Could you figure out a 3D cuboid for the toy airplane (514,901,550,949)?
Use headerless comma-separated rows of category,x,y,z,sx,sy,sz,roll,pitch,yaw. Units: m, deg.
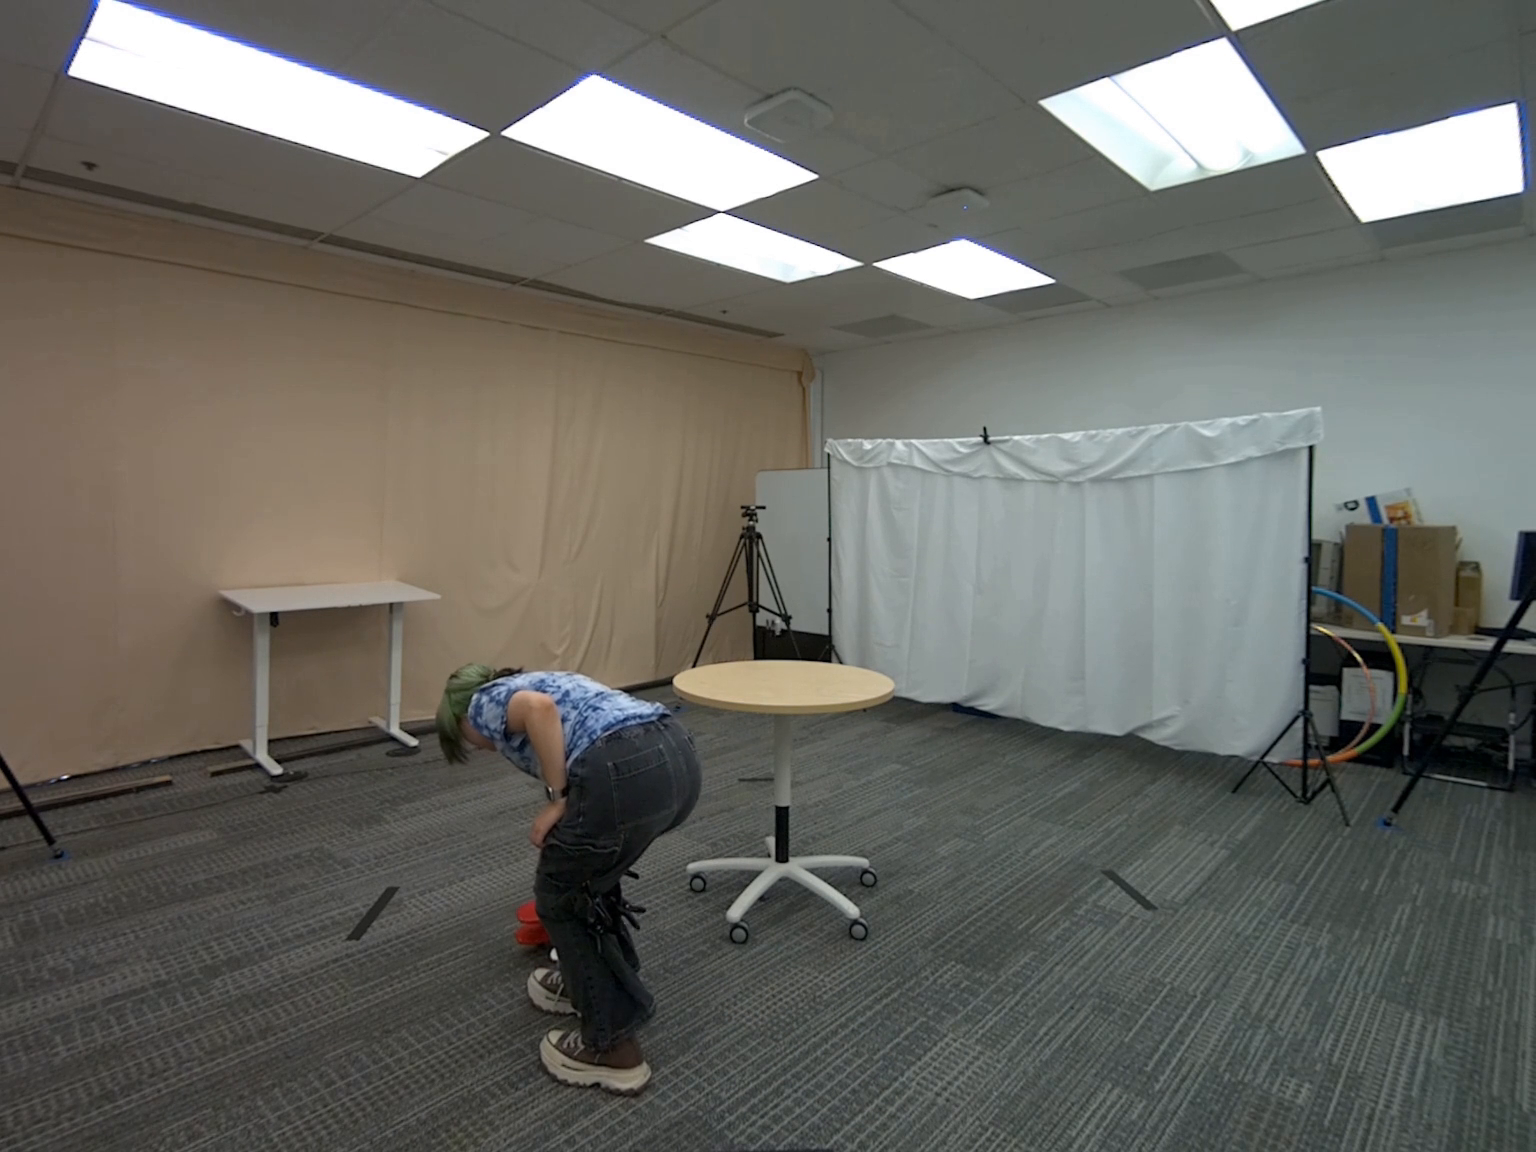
toy airplane,-0.637,1.105,2.631,0.267,0.156,0.244,1,4,32
